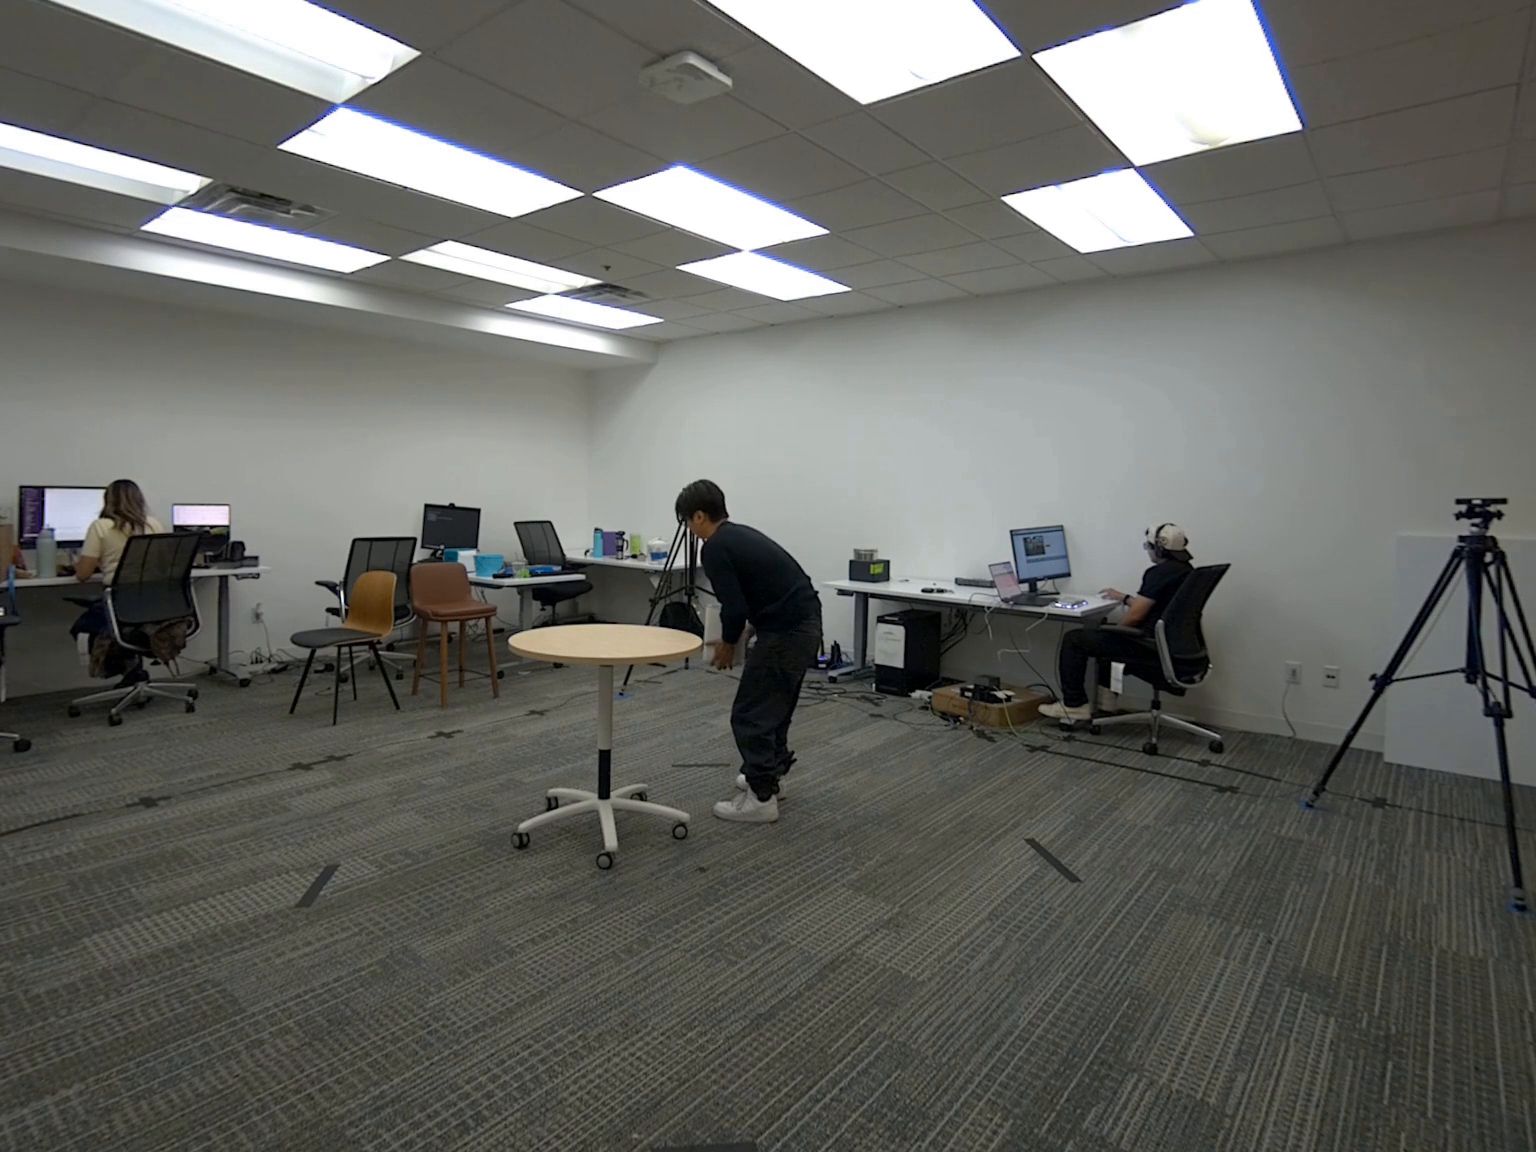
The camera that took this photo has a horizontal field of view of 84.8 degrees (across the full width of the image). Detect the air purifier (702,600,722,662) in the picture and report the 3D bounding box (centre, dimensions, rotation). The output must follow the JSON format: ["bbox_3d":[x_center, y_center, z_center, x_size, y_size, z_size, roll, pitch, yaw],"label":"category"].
[{"bbox_3d":[-0.206,0.268,3.843,0.173,0.265,0.169,4,1,11],"label":"air purifier"}]
